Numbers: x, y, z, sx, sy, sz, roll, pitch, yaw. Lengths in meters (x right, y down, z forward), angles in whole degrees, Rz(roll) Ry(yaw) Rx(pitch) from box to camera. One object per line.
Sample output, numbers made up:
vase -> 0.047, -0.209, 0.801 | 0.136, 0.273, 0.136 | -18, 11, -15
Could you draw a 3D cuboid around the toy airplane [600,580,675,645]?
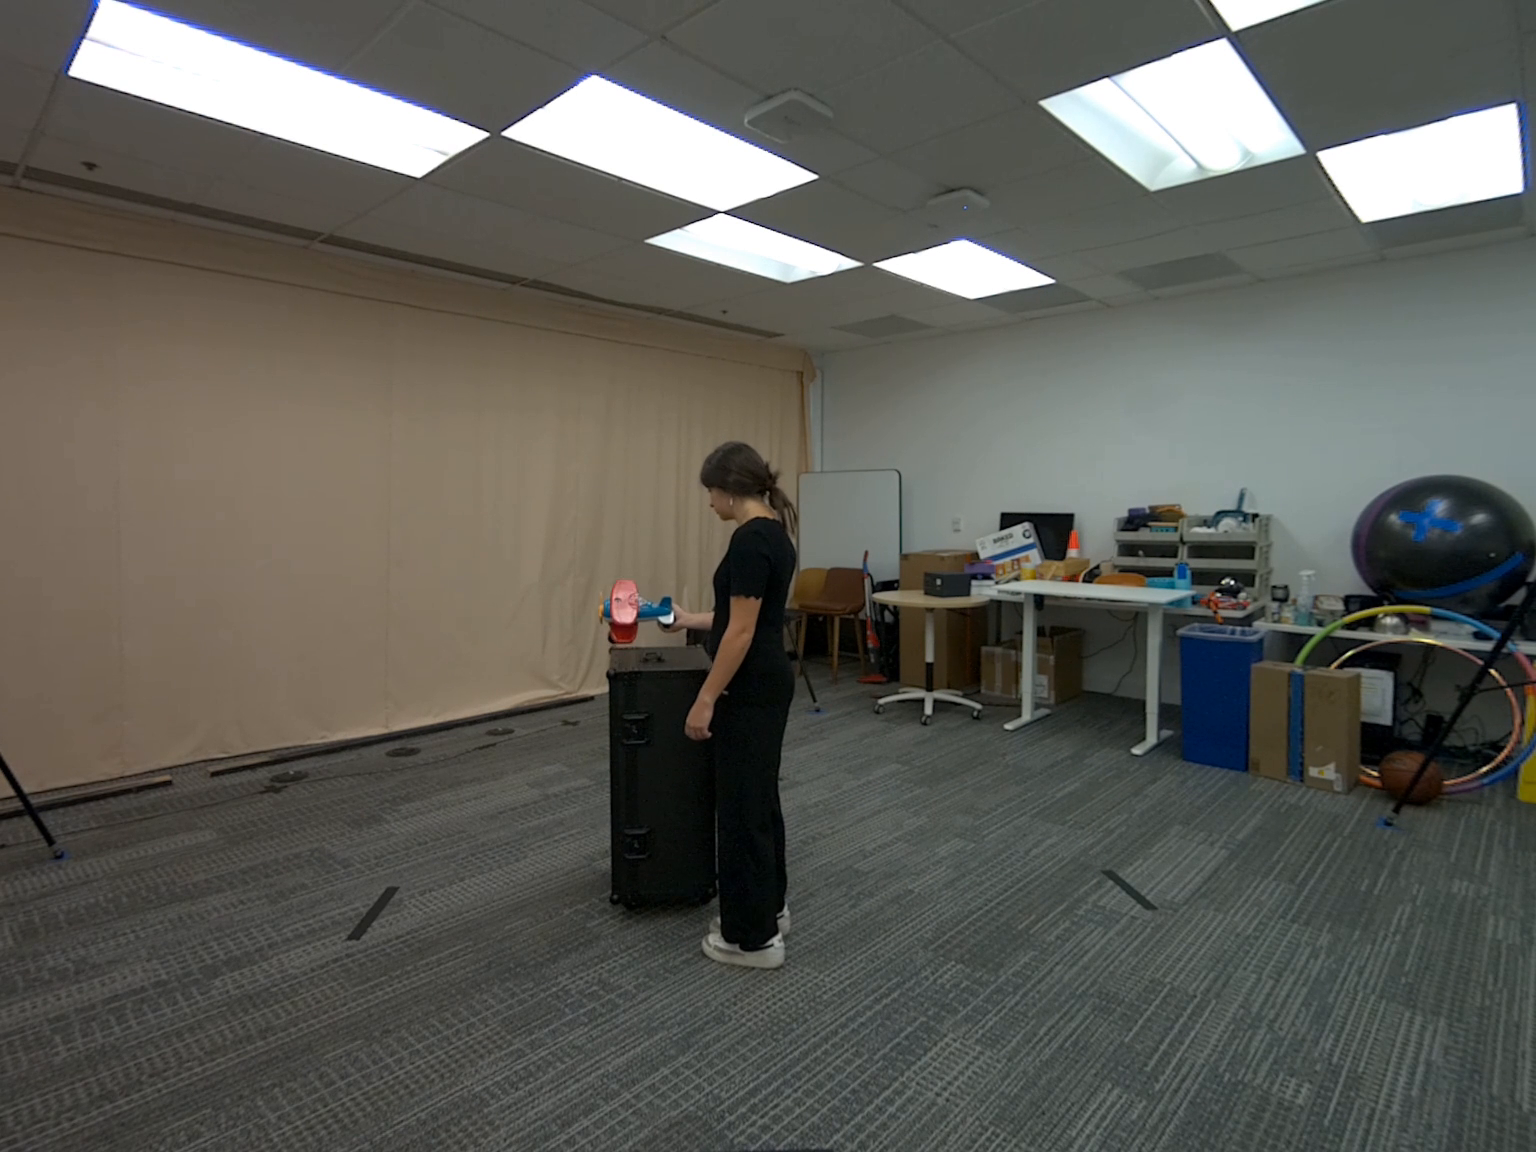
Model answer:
toy airplane -> -0.456, 0.116, 2.967 | 0.256, 0.153, 0.260 | -29, 39, -22
